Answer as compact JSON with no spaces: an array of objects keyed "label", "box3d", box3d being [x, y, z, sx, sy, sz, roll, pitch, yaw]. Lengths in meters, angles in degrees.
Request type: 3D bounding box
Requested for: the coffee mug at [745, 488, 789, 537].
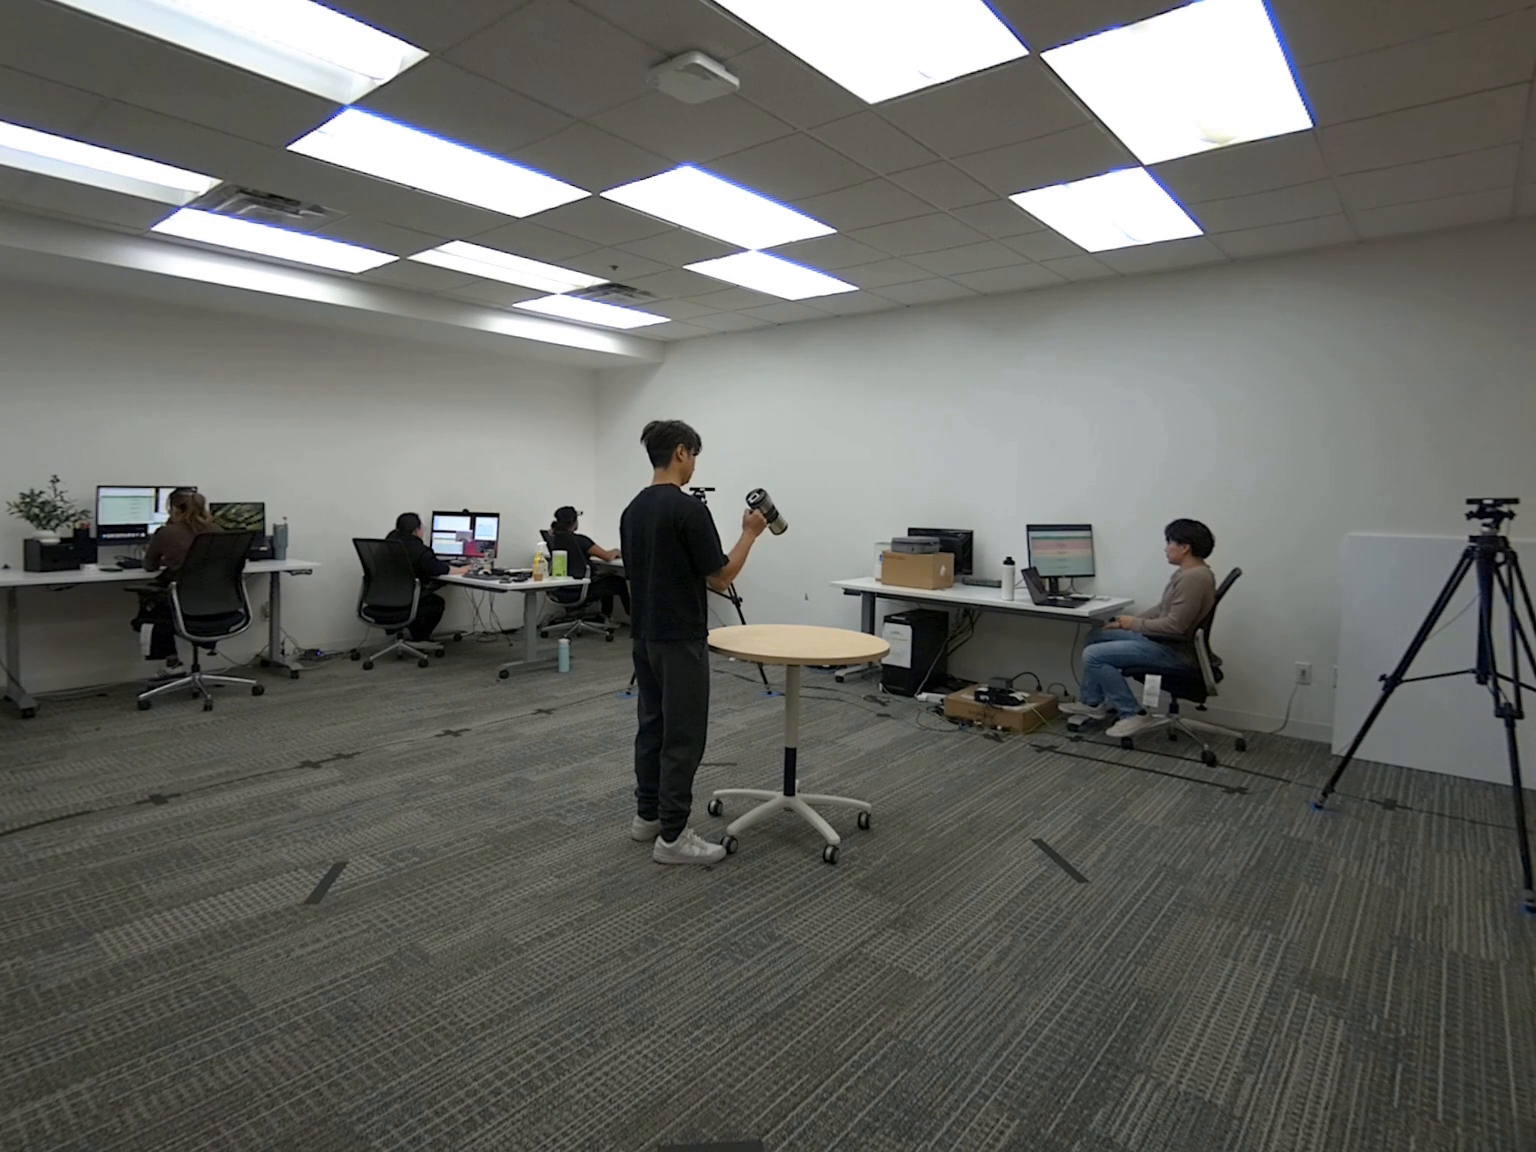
[{"label":"coffee mug","box3d":[-0.017,-0.228,3.345,0.122,0.195,0.091,-40,35,-2]}]
